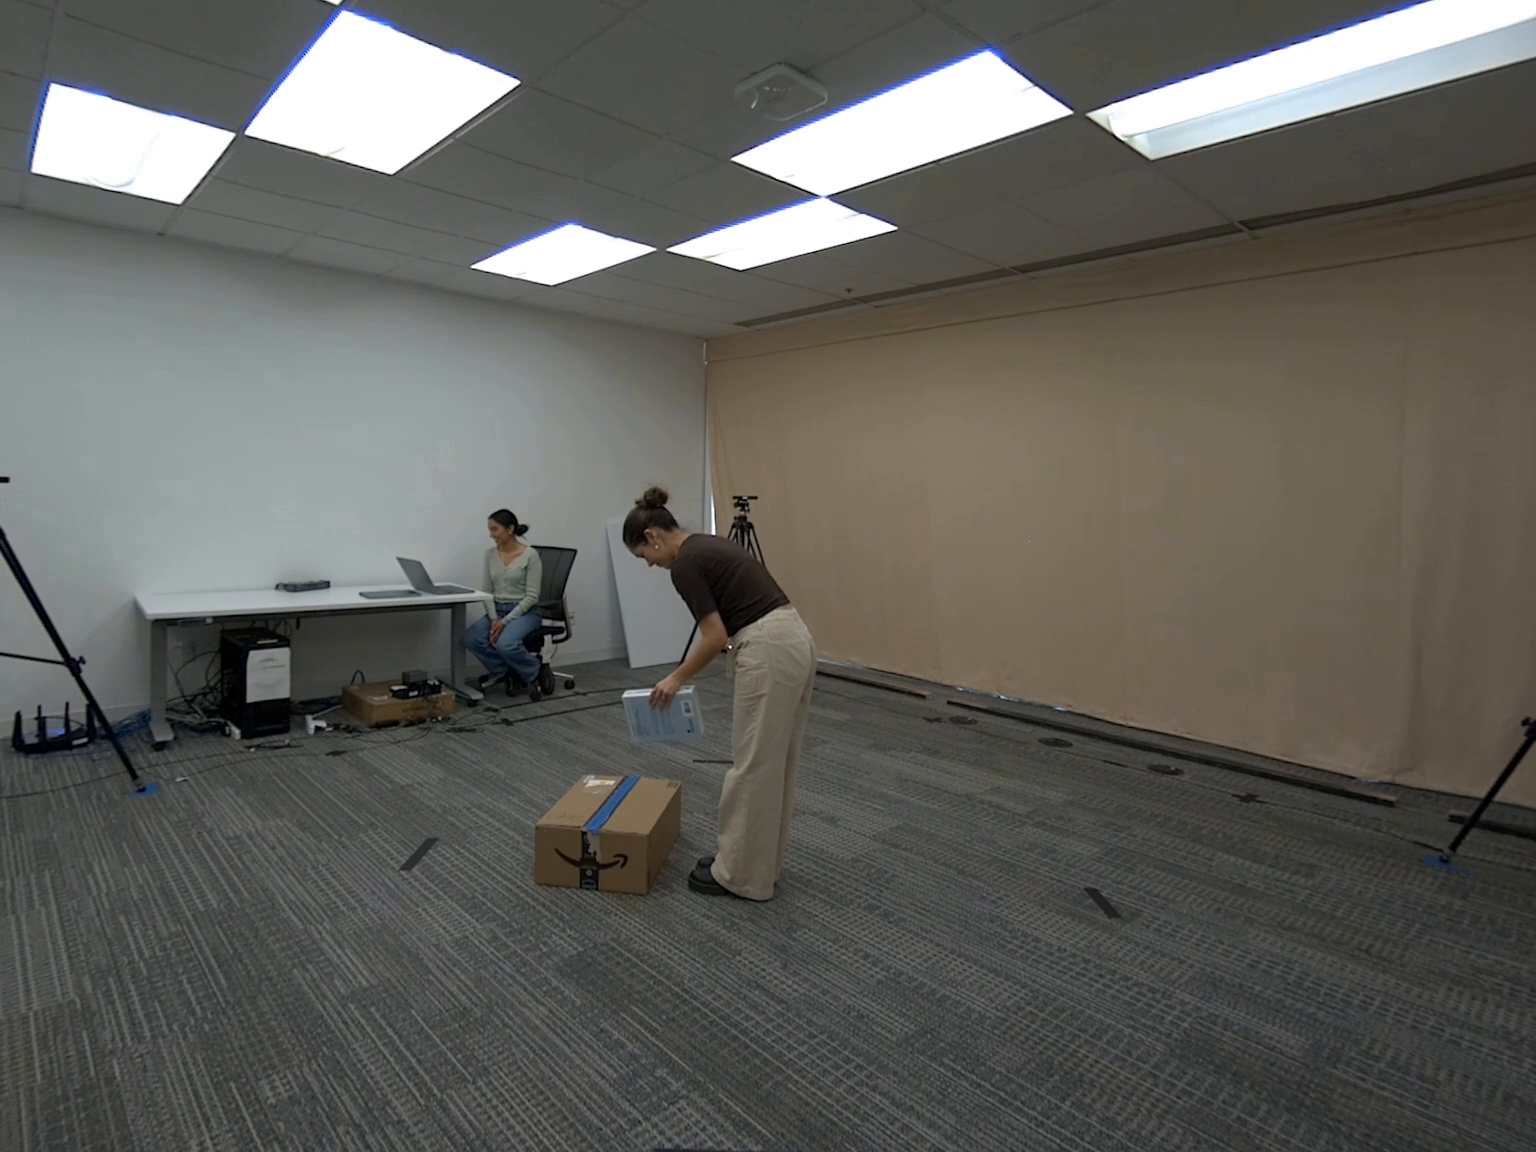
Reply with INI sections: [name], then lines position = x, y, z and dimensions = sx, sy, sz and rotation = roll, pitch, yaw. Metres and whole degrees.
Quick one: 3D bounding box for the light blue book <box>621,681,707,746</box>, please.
[light blue book]
position = -0.367, 0.487, 2.993
dimensions = 0.263, 0.189, 0.059
rotation = -8, 15, 11
